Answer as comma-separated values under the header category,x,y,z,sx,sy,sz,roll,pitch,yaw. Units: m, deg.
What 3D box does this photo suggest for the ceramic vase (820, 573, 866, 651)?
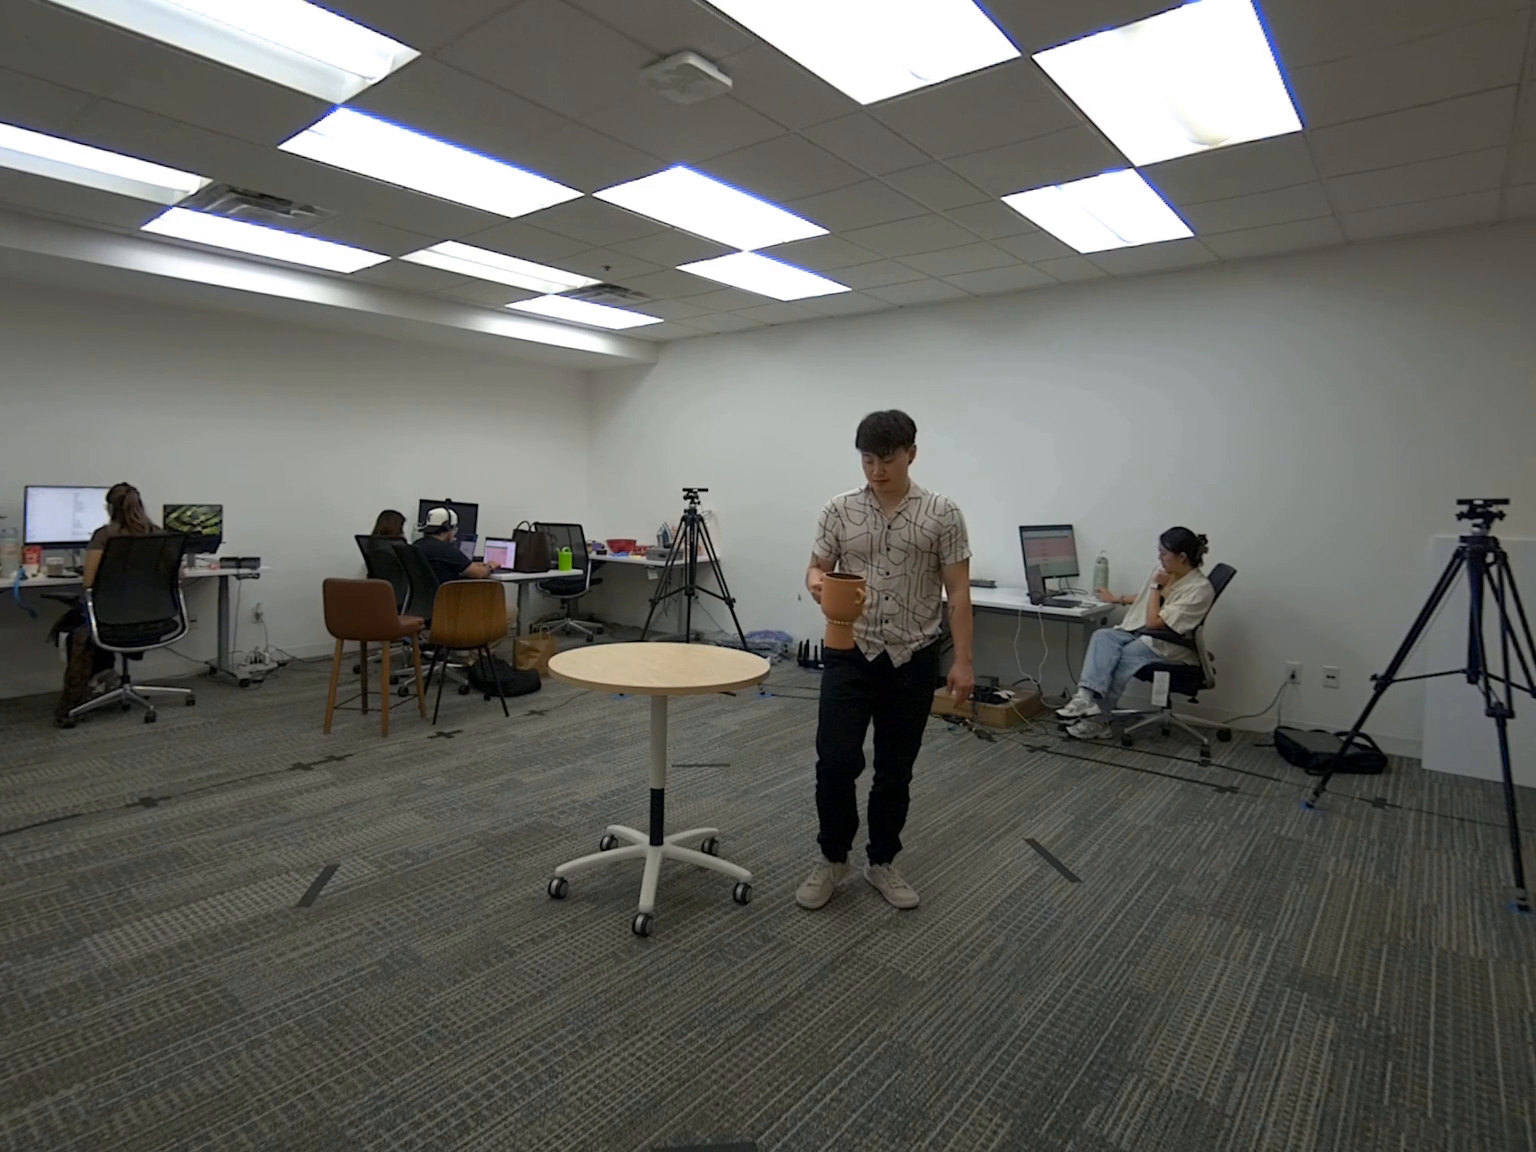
category,x,y,z,sx,sy,sz,roll,pitch,yaw
ceramic vase,0.218,0.105,2.643,0.136,0.218,0.159,5,9,6
